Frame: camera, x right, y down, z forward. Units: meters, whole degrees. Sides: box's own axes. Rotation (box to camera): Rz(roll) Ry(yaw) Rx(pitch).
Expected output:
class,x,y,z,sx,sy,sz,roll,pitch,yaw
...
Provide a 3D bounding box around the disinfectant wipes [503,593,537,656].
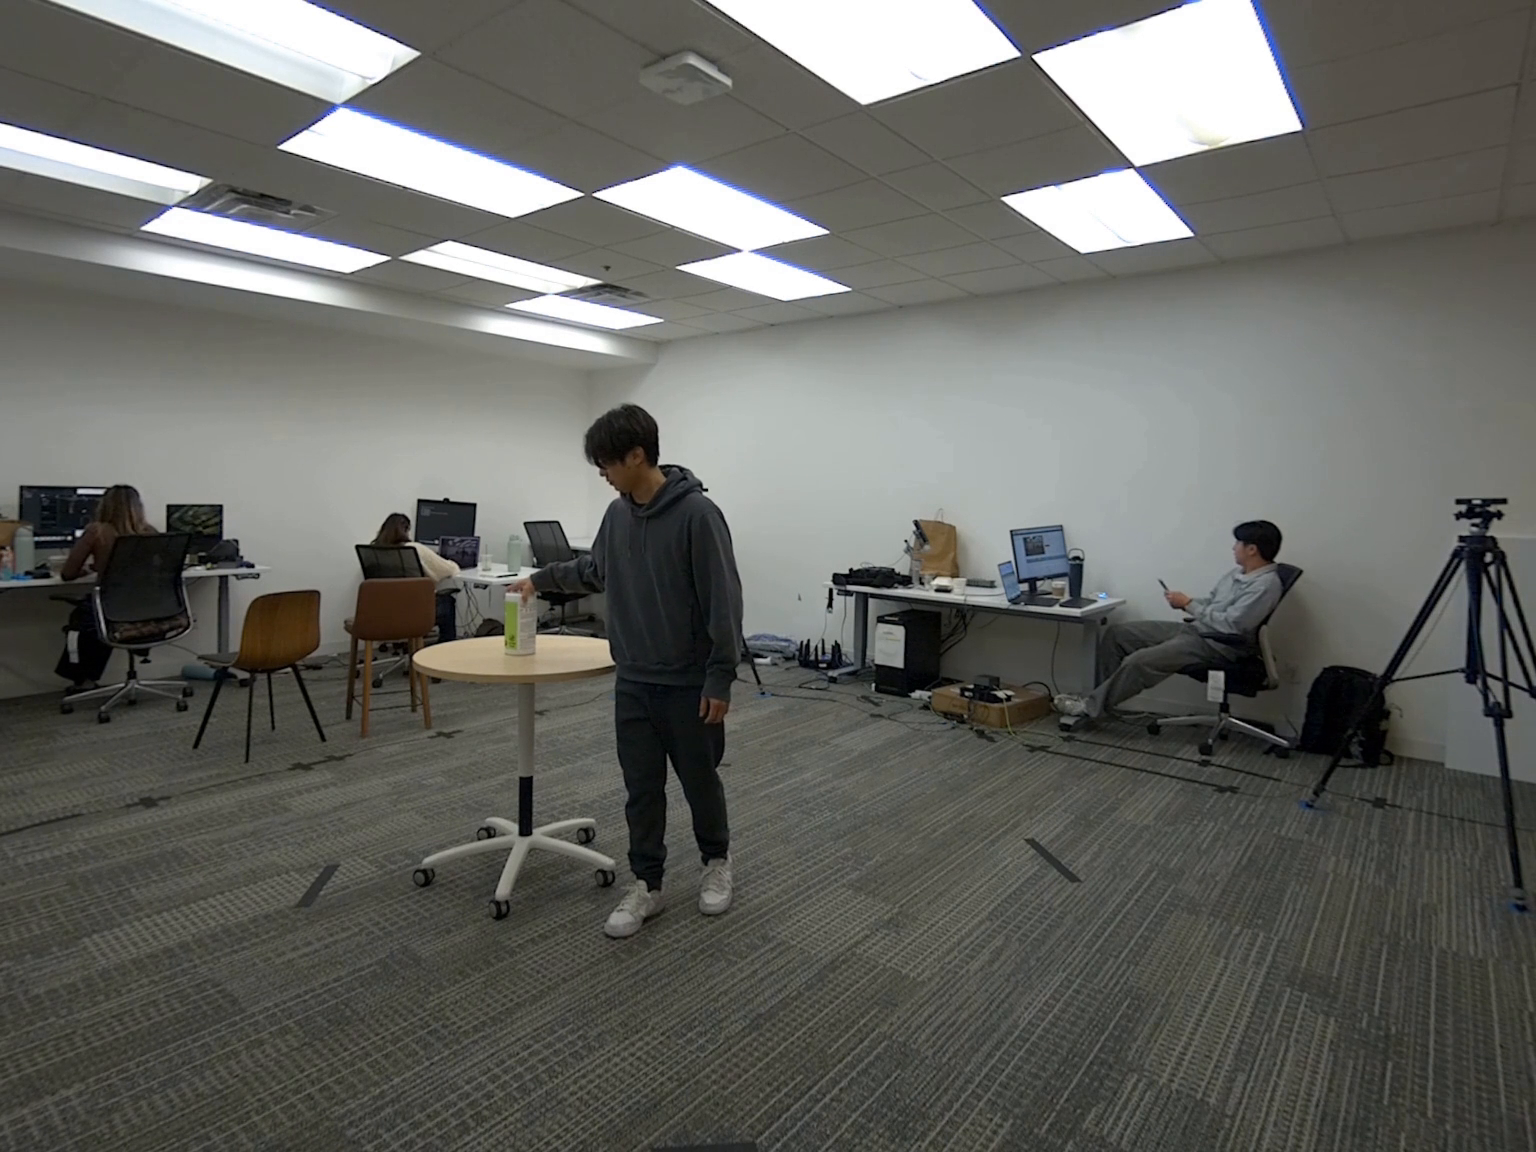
class,x,y,z,sx,sy,sz,roll,pitch,yaw
disinfectant wipes,-0.890,0.164,3.007,0.117,0.217,0.118,2,4,-2
